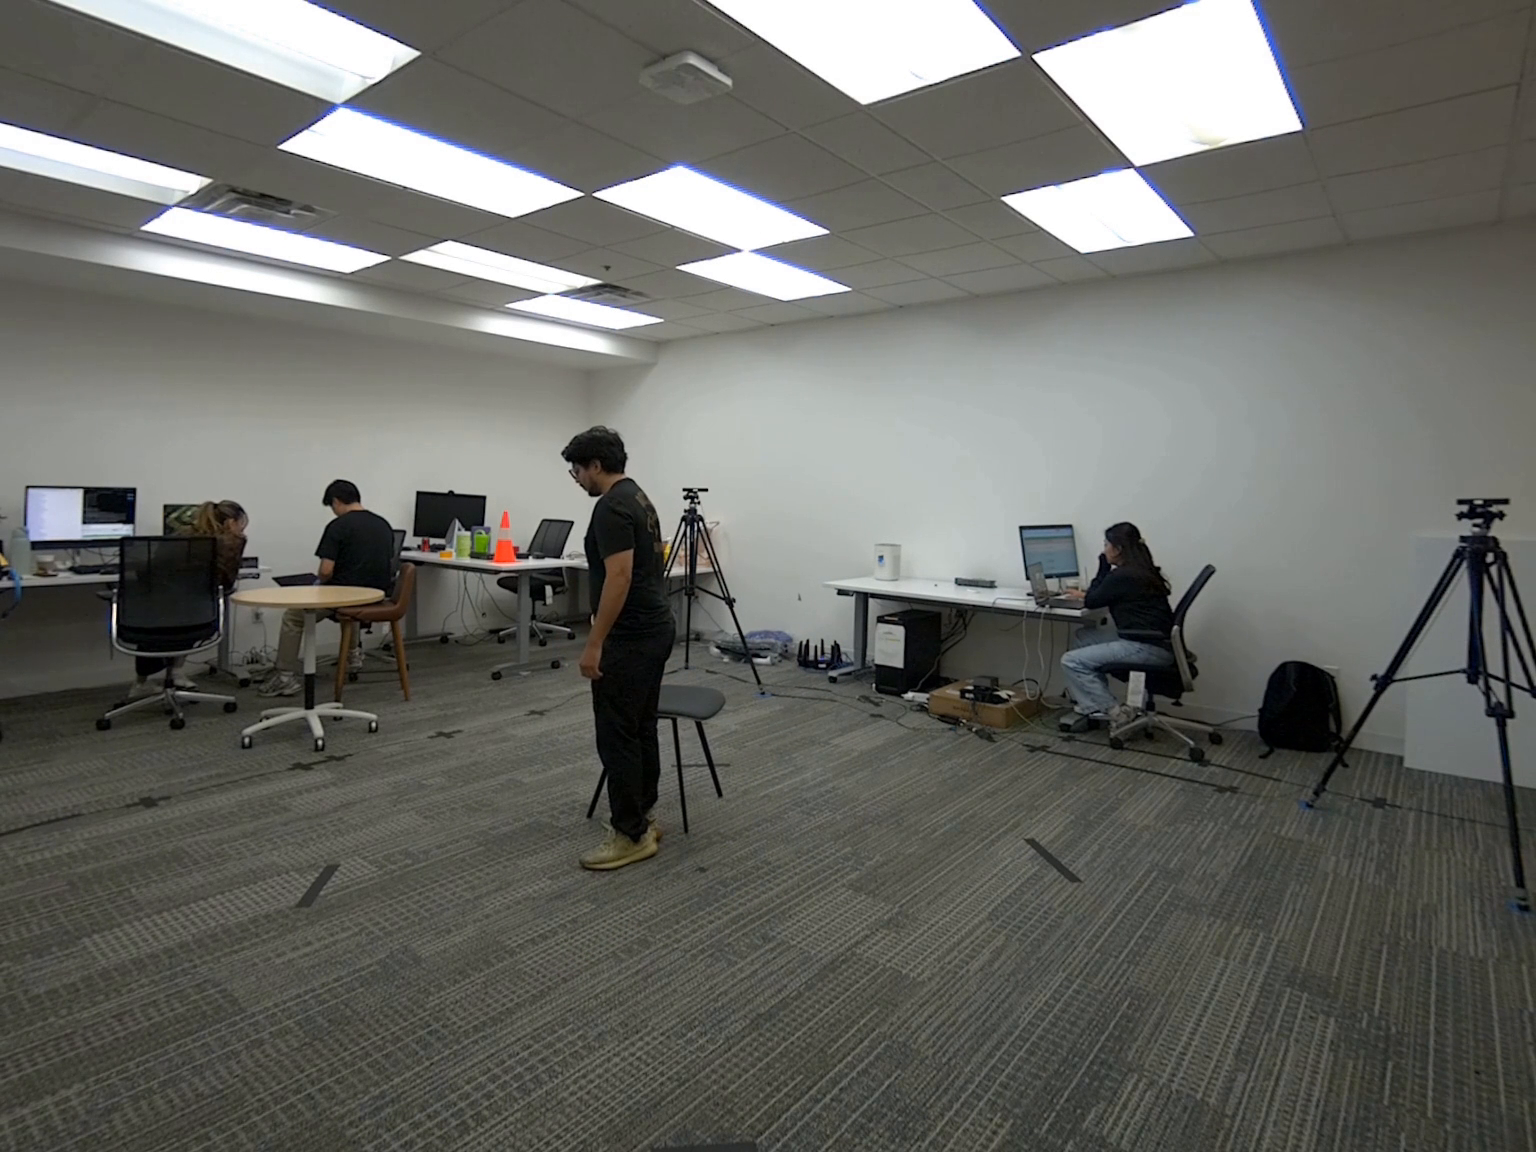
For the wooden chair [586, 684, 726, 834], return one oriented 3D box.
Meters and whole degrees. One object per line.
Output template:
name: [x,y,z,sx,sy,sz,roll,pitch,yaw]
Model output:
wooden chair: [-0.473,0.582,3.687,0.533,0.876,0.470,-2,1,17]
